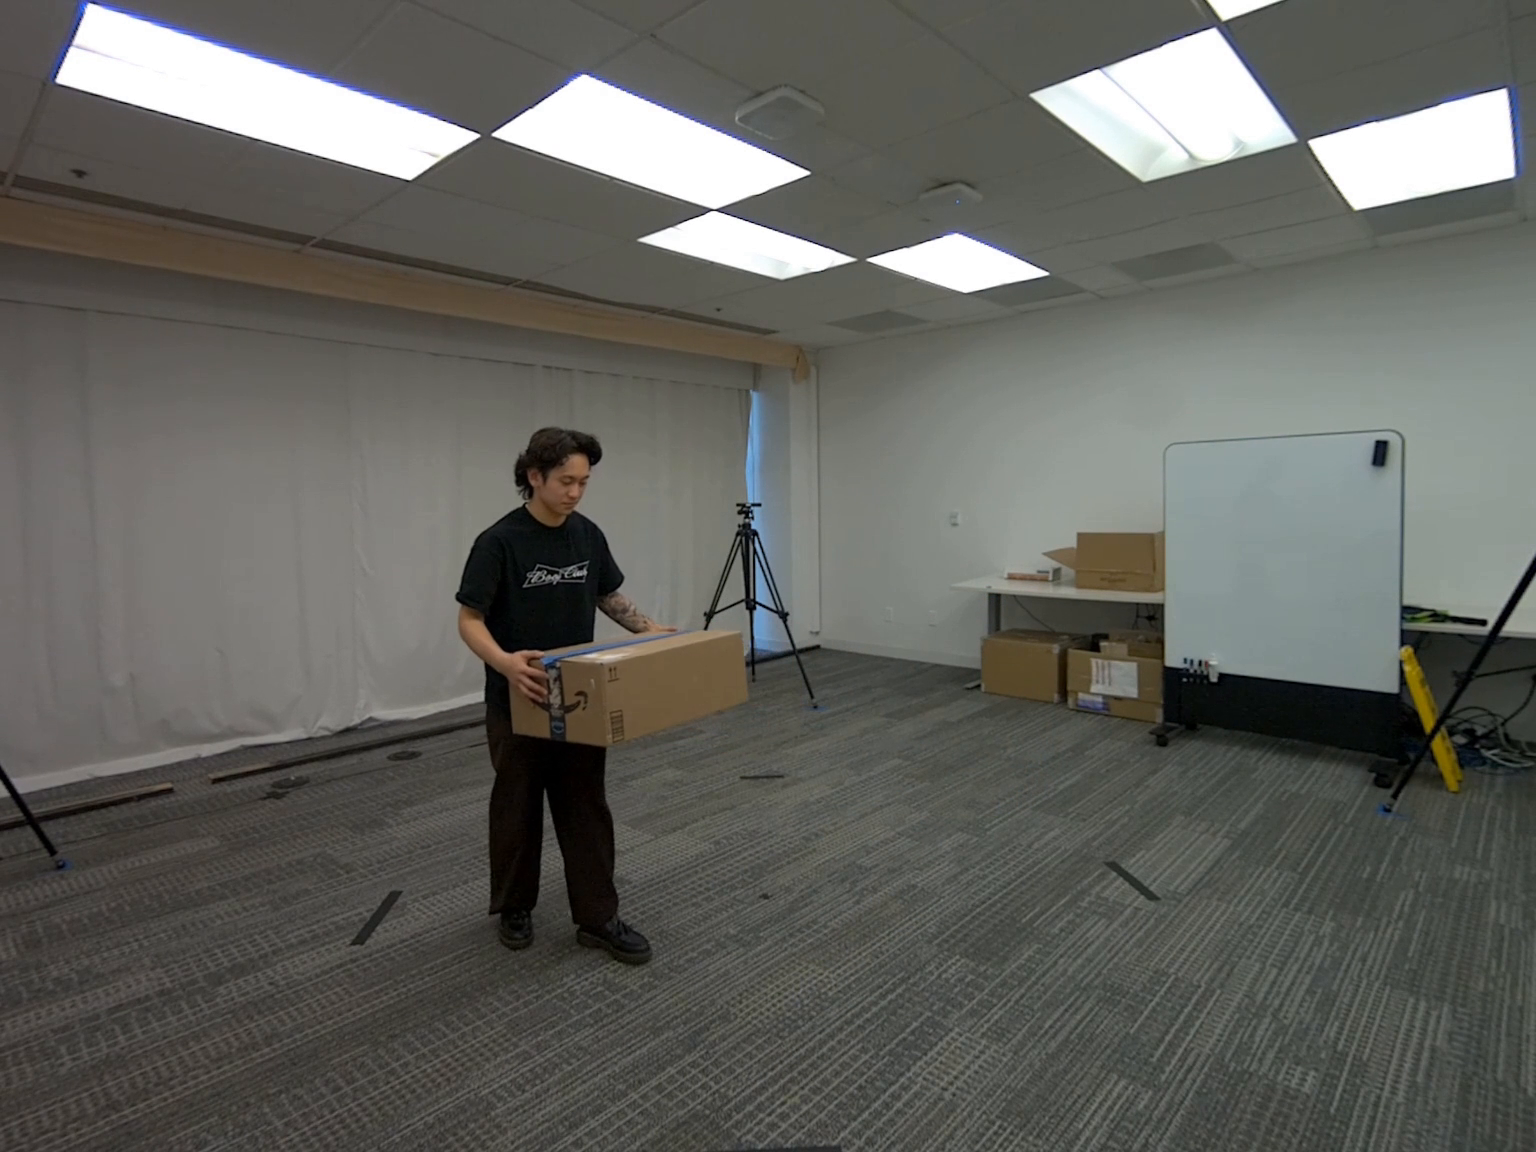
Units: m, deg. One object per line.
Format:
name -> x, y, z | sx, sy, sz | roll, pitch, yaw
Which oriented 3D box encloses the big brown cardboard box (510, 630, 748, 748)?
big brown cardboard box -> -0.395, 0.302, 2.449 | 0.430, 0.233, 0.571 | -3, 2, 39
